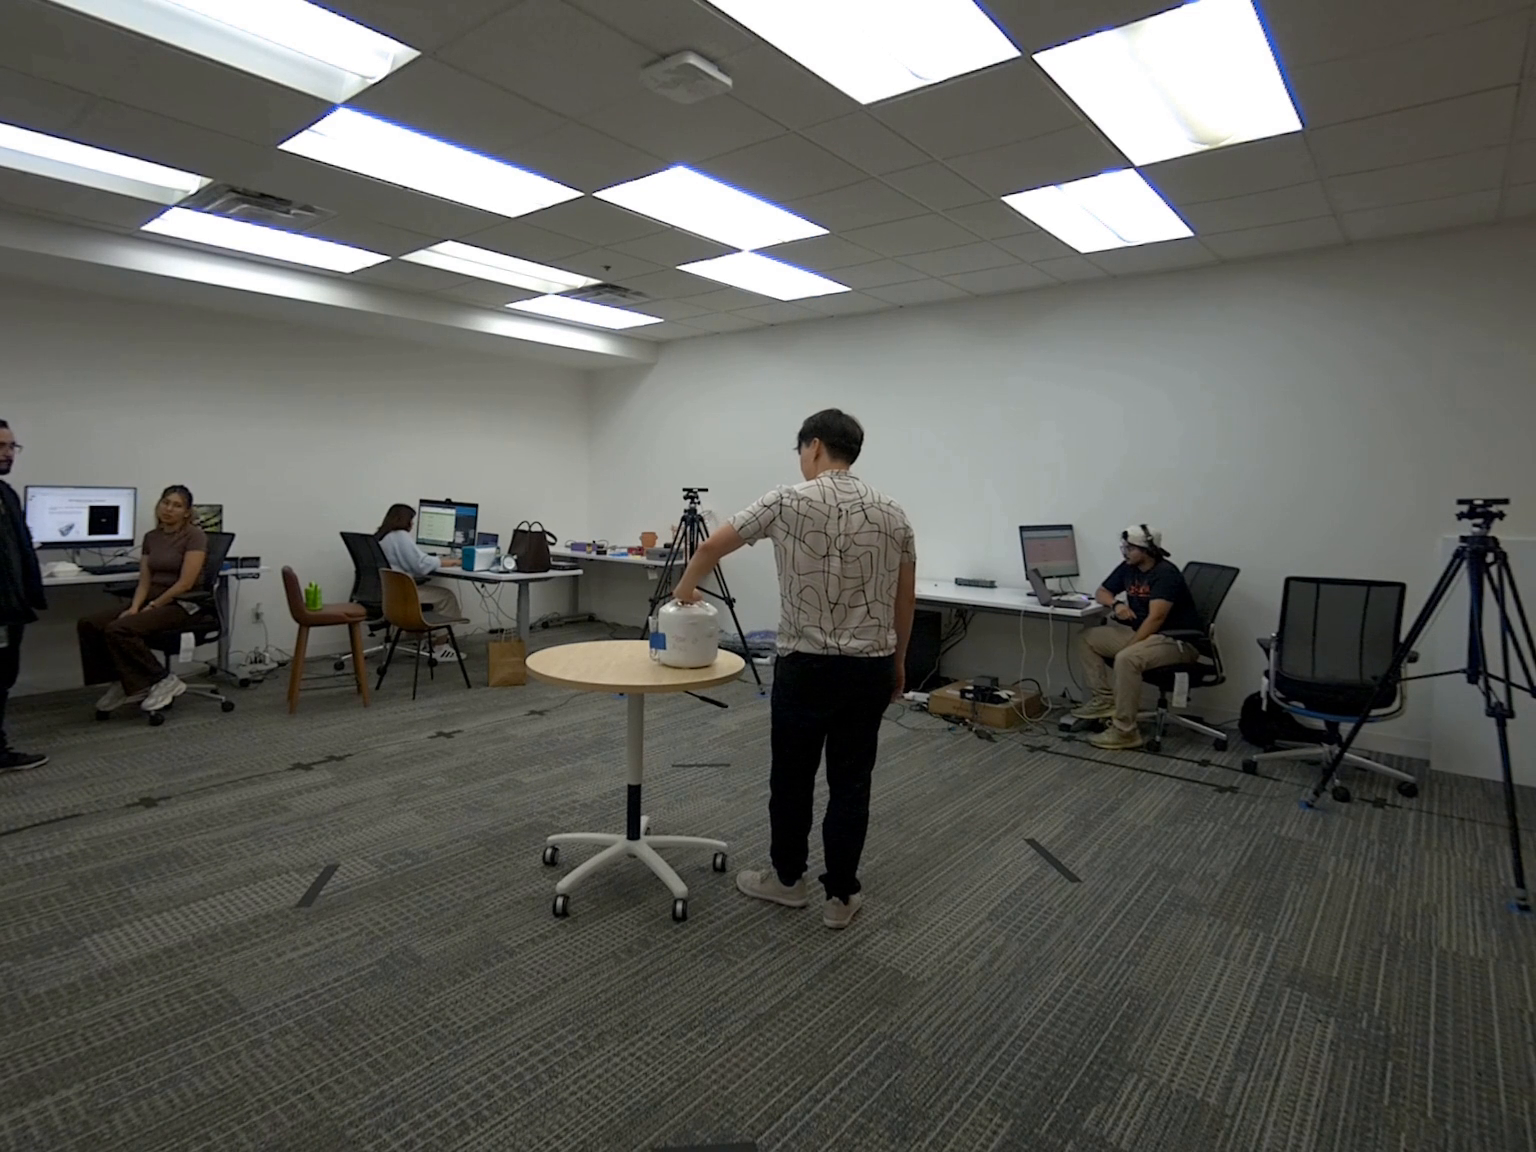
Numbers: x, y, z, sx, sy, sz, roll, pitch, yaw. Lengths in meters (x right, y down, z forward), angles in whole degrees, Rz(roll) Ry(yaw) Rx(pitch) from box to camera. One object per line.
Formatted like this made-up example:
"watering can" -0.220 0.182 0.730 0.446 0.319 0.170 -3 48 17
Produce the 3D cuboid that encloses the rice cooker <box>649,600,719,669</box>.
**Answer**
"rice cooker" -0.289 0.187 2.952 0.228 0.232 0.211 5 7 38
